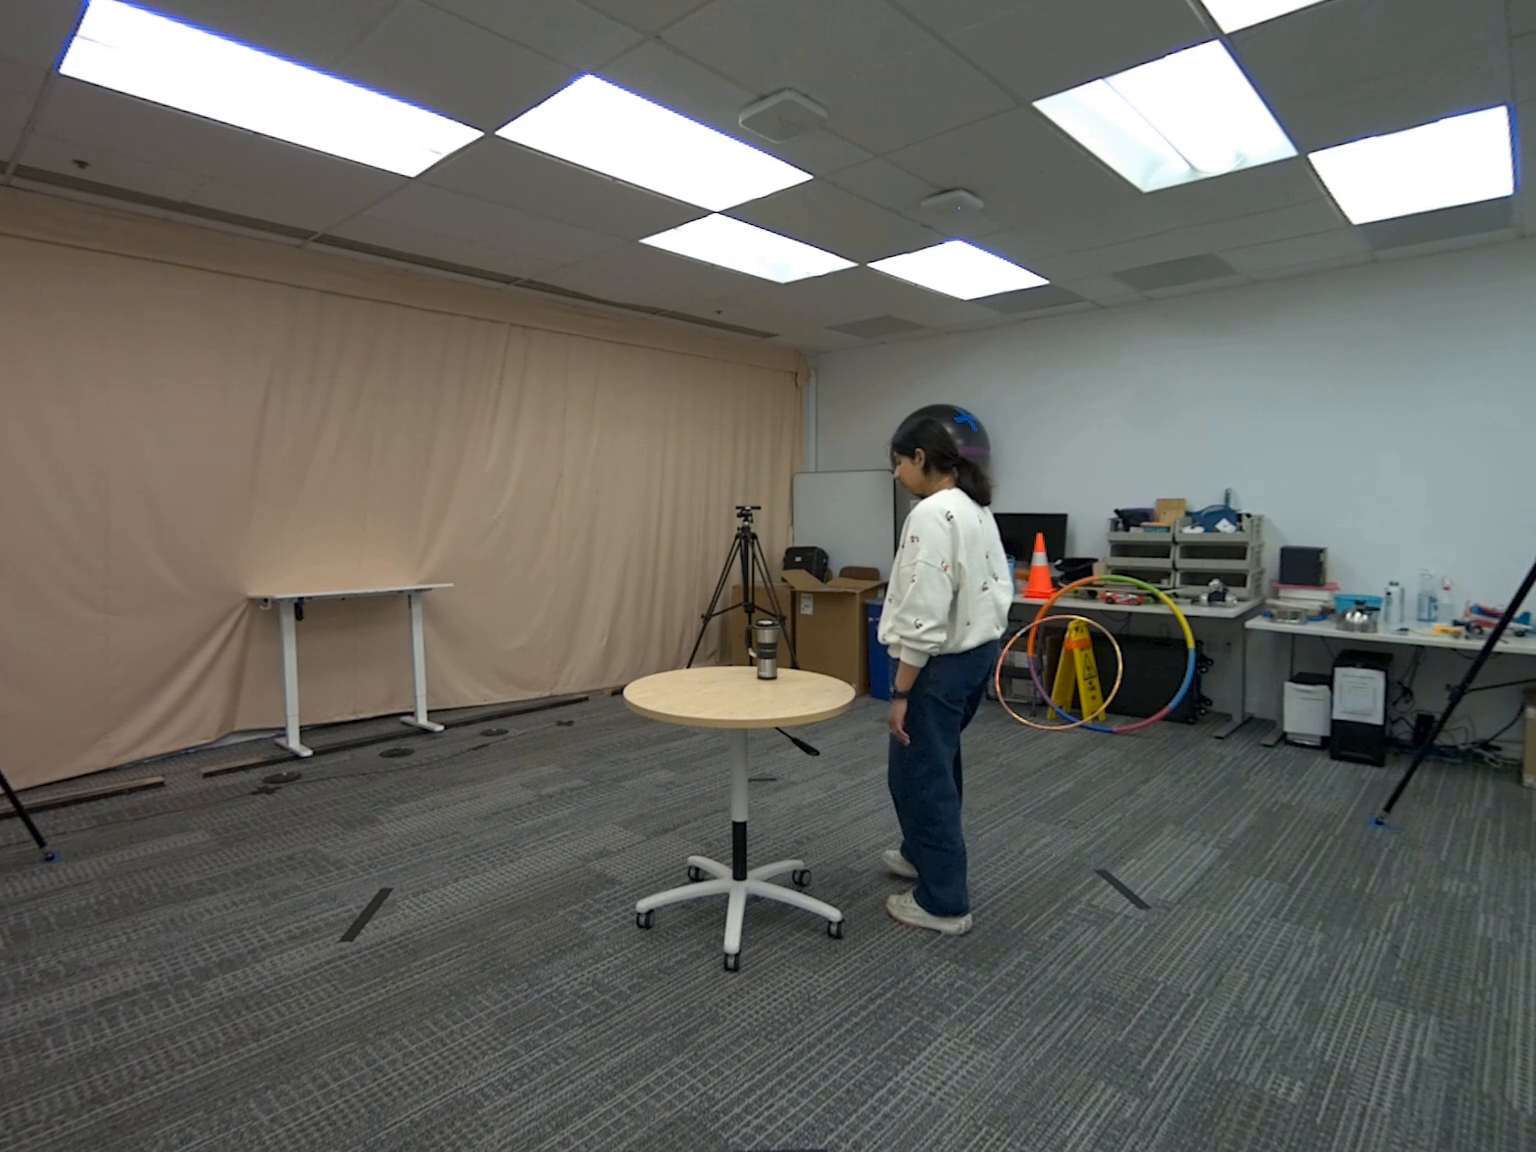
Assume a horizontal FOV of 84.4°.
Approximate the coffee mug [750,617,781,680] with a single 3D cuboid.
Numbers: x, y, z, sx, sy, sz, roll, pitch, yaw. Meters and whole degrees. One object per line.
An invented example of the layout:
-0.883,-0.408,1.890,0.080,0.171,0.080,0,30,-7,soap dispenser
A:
-0.017,0.262,2.980,0.085,0.202,0.126,-7,8,-38,coffee mug
